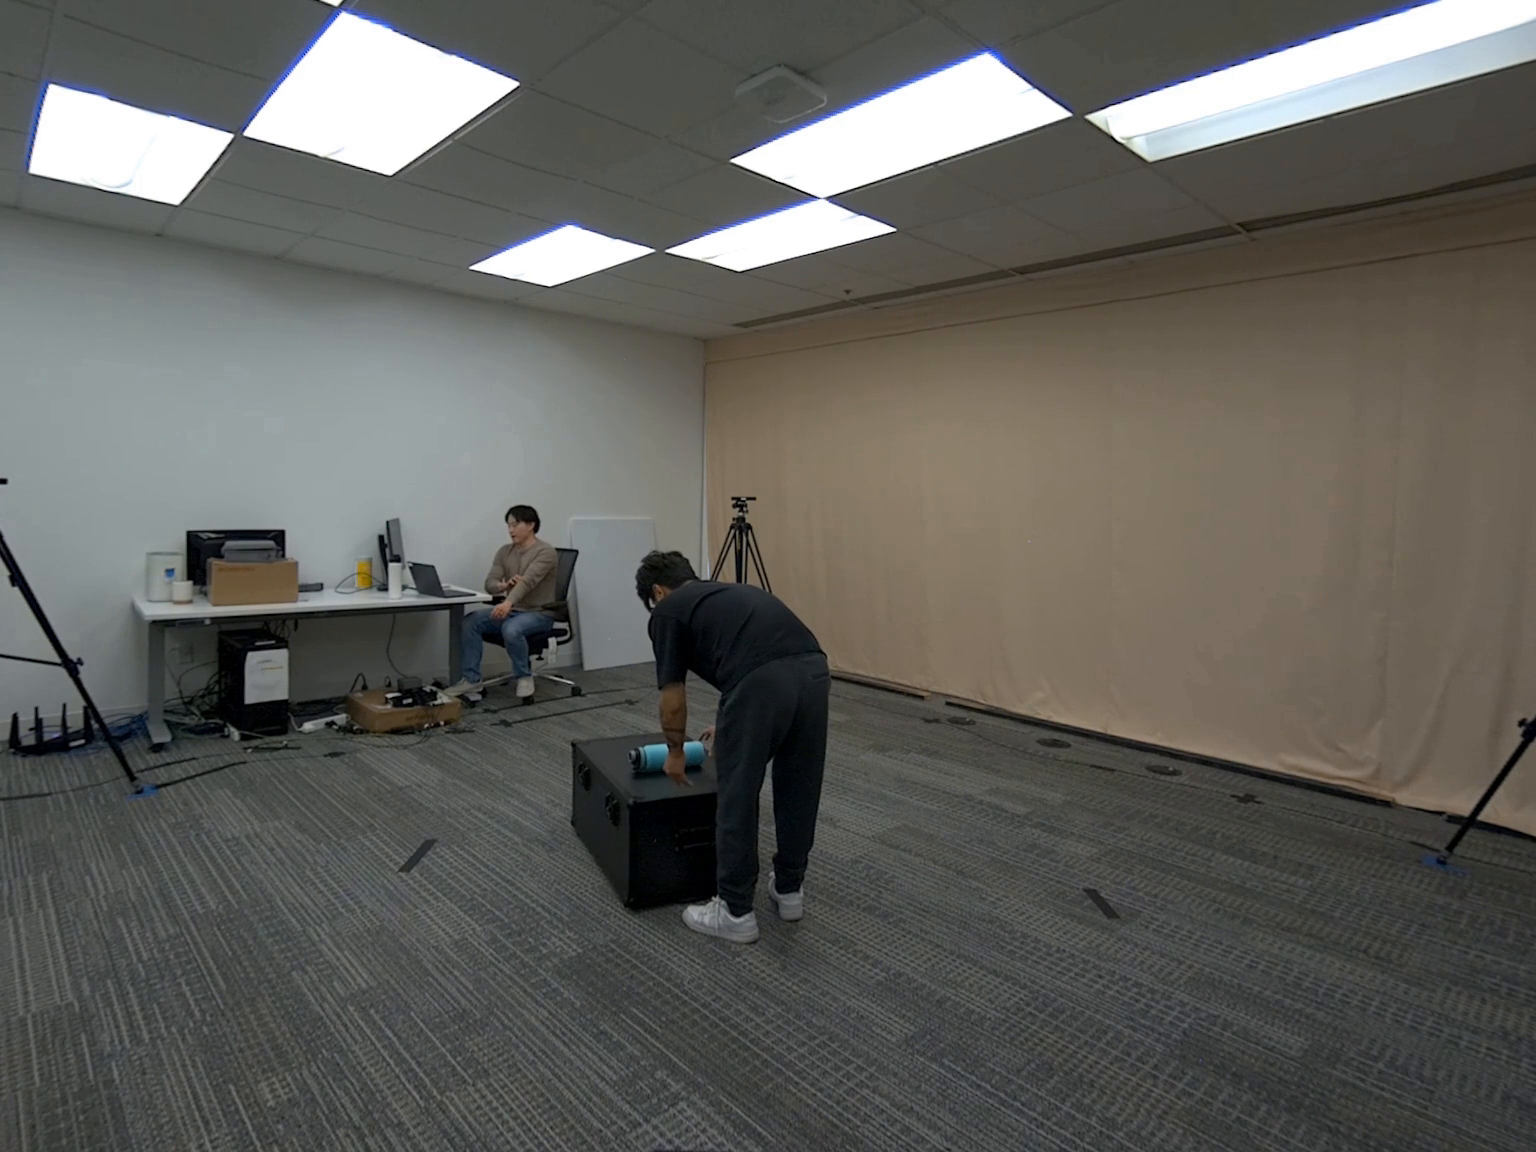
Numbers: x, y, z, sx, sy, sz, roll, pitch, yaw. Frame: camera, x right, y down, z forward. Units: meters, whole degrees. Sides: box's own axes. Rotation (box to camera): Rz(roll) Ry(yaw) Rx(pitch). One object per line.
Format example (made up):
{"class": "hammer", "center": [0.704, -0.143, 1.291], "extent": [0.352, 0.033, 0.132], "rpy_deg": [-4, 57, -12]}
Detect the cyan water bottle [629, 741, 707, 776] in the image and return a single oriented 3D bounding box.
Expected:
{"class": "cyan water bottle", "center": [-0.387, 0.671, 3.138], "extent": [0.278, 0.092, 0.094], "rpy_deg": [0, 4, -25]}
